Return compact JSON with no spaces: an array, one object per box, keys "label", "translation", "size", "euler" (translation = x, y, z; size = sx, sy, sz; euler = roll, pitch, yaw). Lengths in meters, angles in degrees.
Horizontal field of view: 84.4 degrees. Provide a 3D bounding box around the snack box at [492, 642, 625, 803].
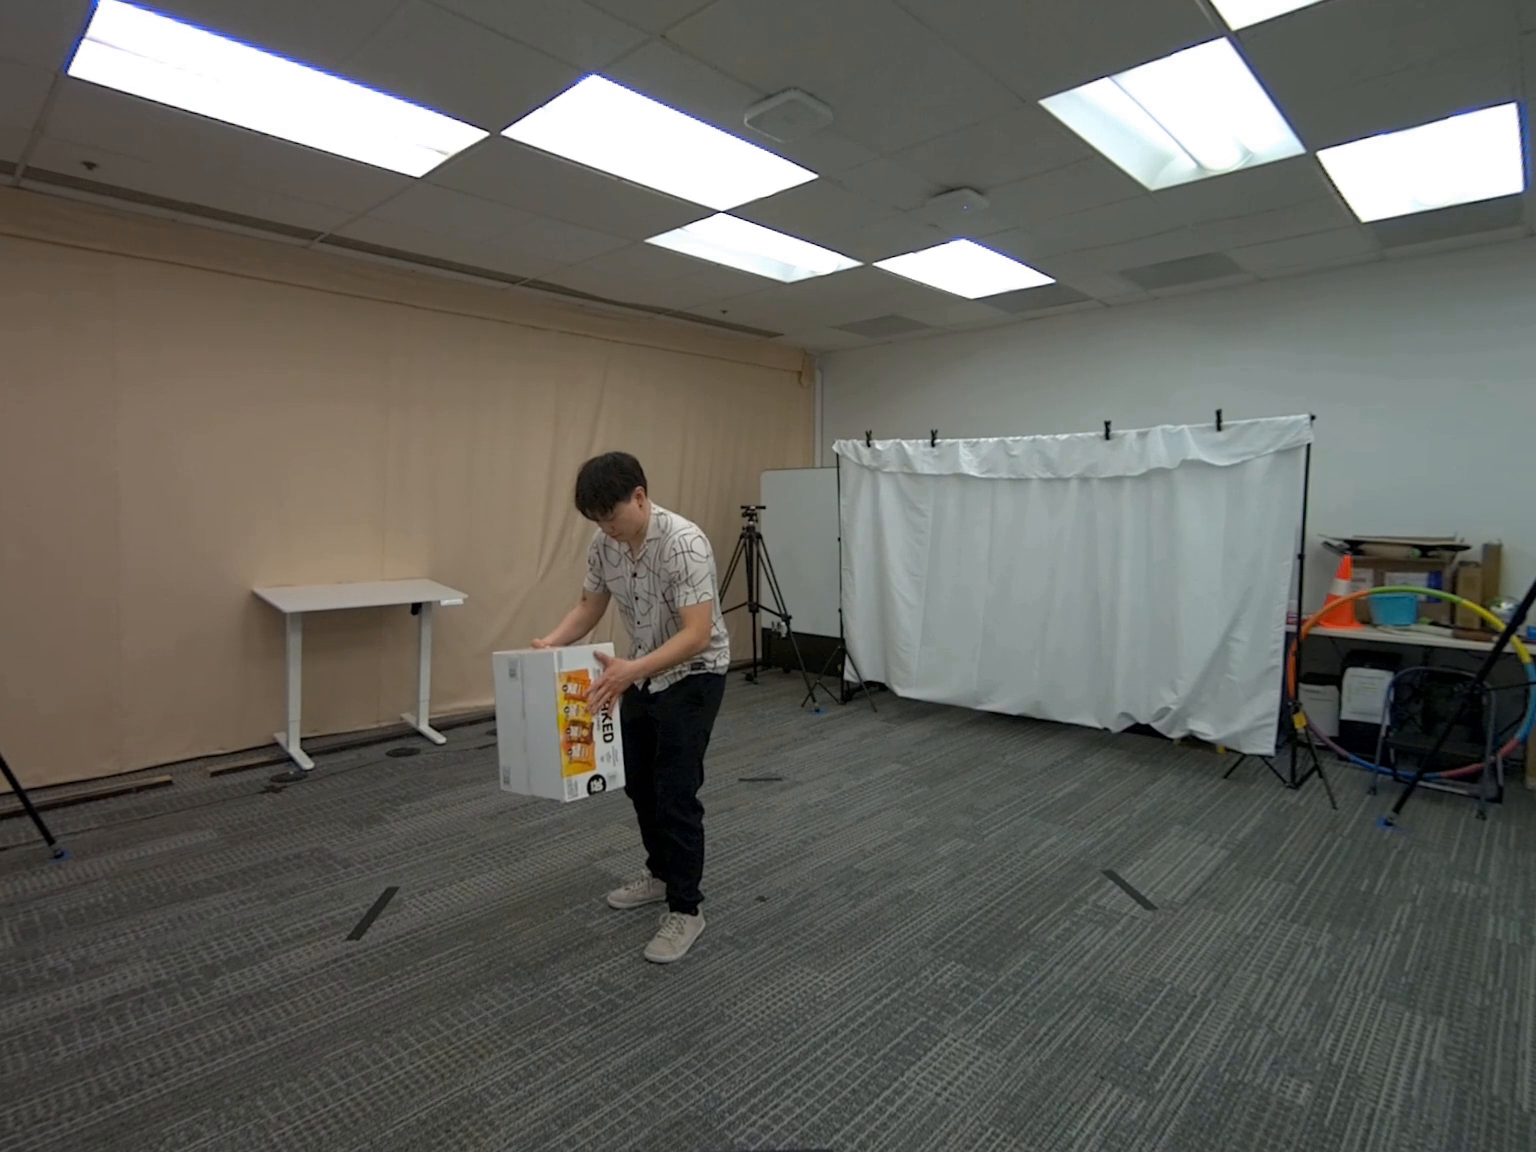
[{"label":"snack box","translation":[-0.605,0.411,2.421],"size":[0.350,0.406,0.199],"euler":[-9,-5,44]}]
